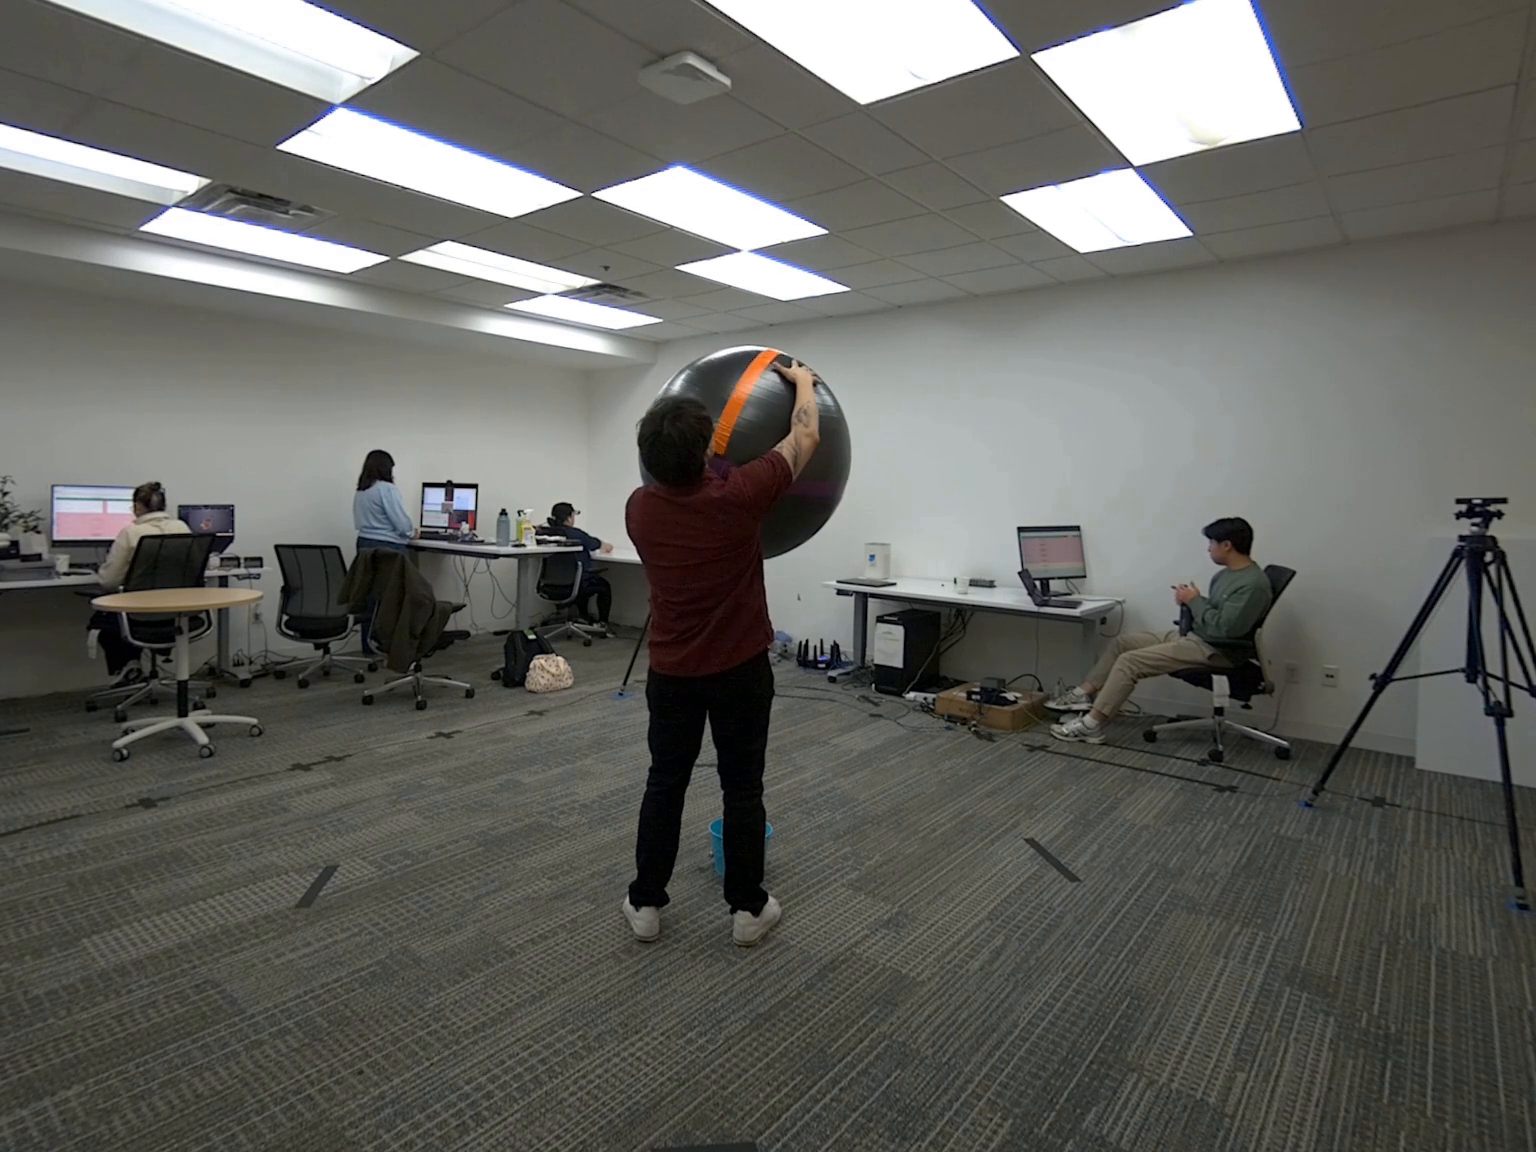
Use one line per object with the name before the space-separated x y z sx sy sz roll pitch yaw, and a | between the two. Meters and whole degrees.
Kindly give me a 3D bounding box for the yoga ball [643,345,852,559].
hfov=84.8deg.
yoga ball | -0.088 -0.430 3.046 0.757 0.756 0.762 1 4 -2
